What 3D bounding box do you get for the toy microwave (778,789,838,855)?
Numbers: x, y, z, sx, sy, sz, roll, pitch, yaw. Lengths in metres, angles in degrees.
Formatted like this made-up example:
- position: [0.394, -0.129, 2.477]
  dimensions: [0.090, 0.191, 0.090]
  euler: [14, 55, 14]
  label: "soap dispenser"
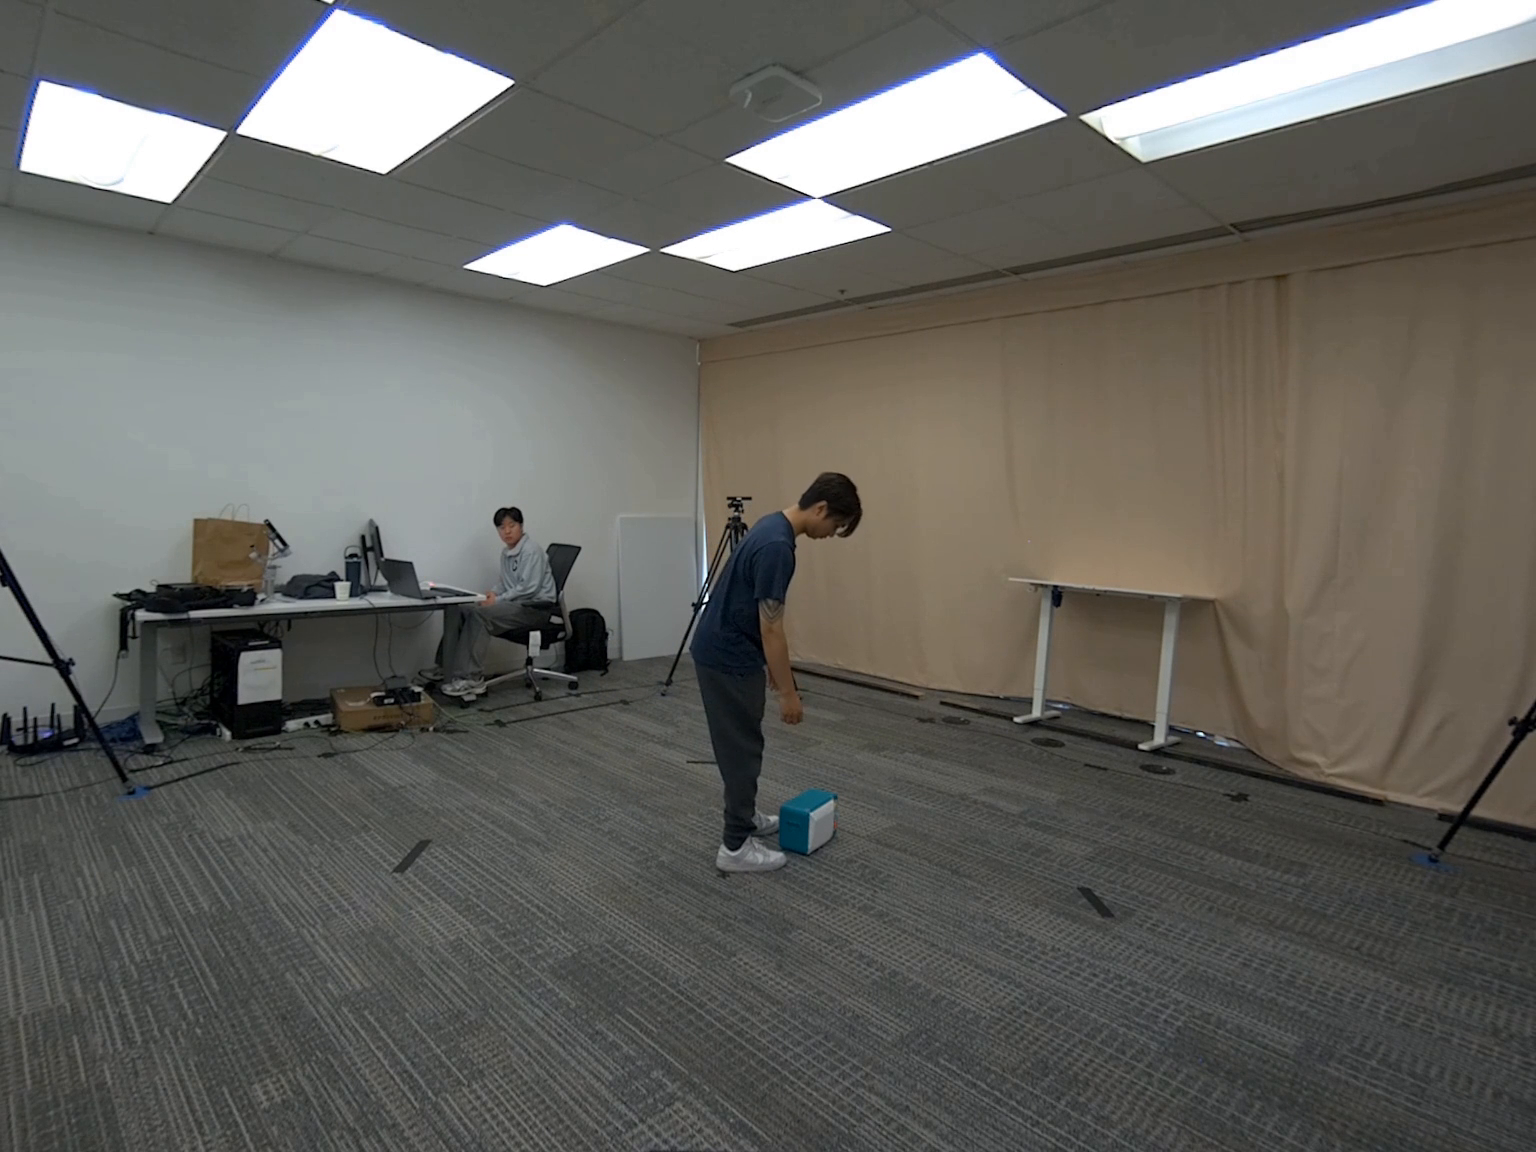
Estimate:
- position: [0.166, 0.996, 3.416]
  dimensions: [0.156, 0.184, 0.280]
  euler: [4, 4, 31]
  label: "toy microwave"
